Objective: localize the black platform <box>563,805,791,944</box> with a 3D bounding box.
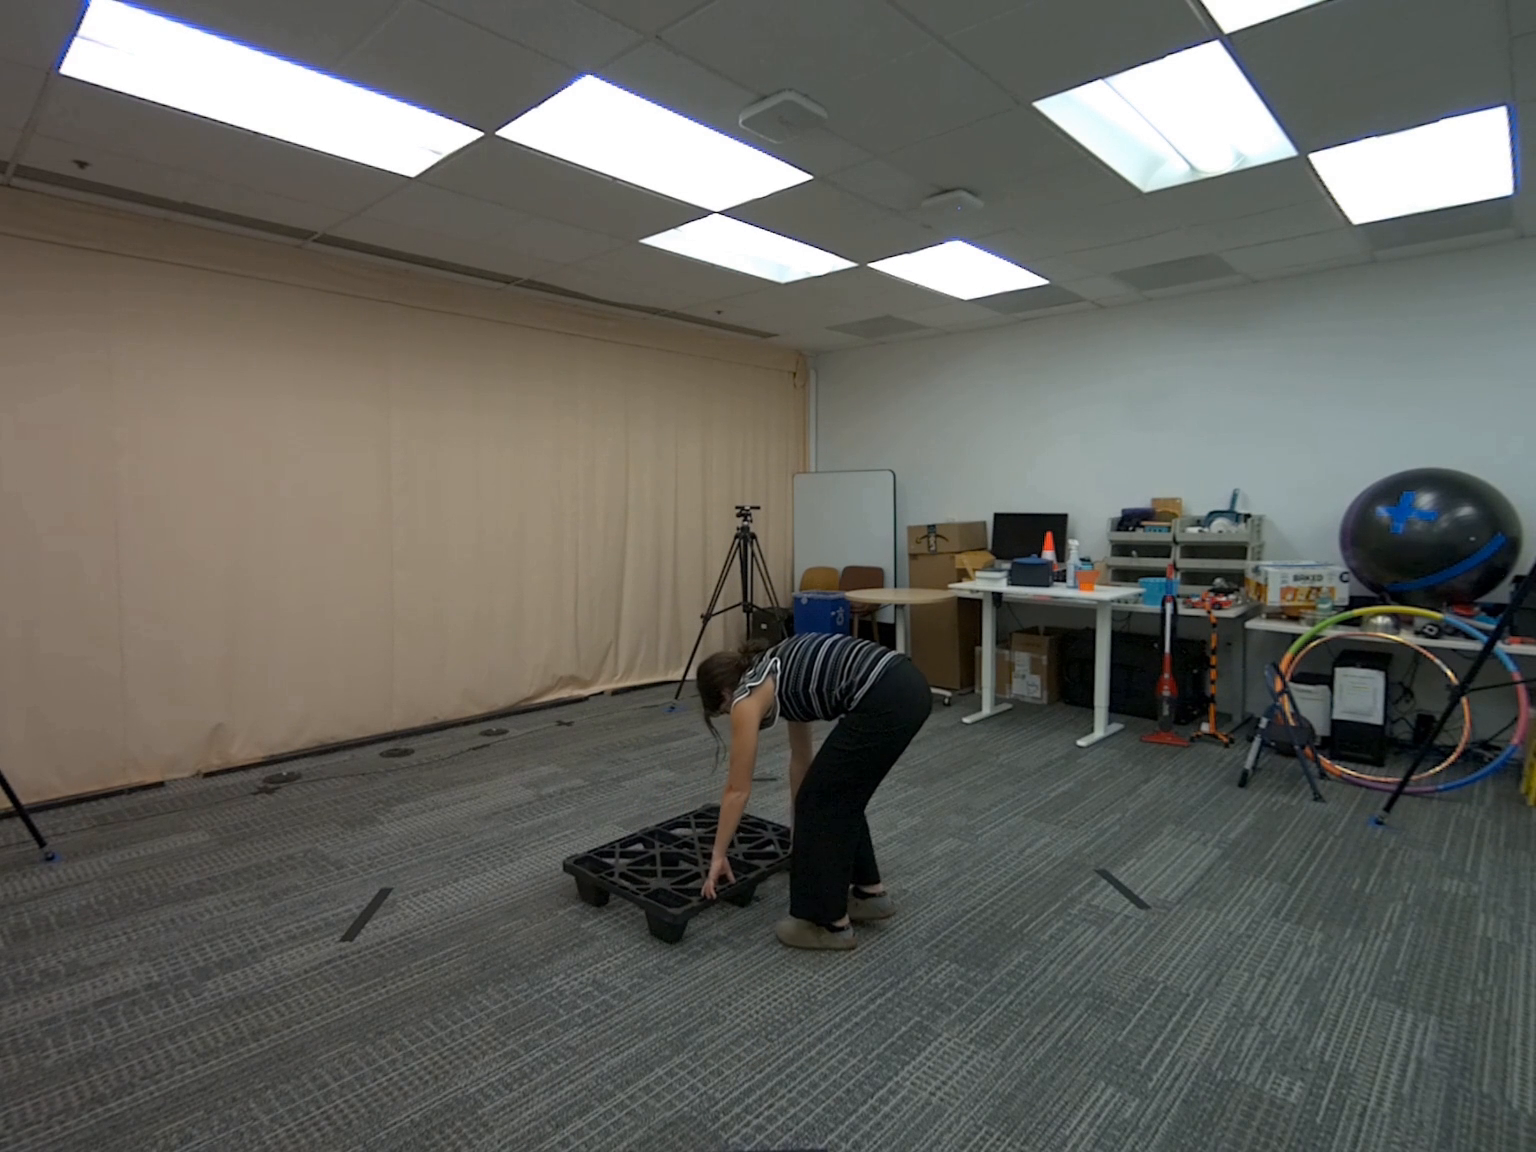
[{"bbox_3d":[-0.260,1.069,3.095,0.625,0.143,0.781,3,6,42],"label":"black platform"}]
